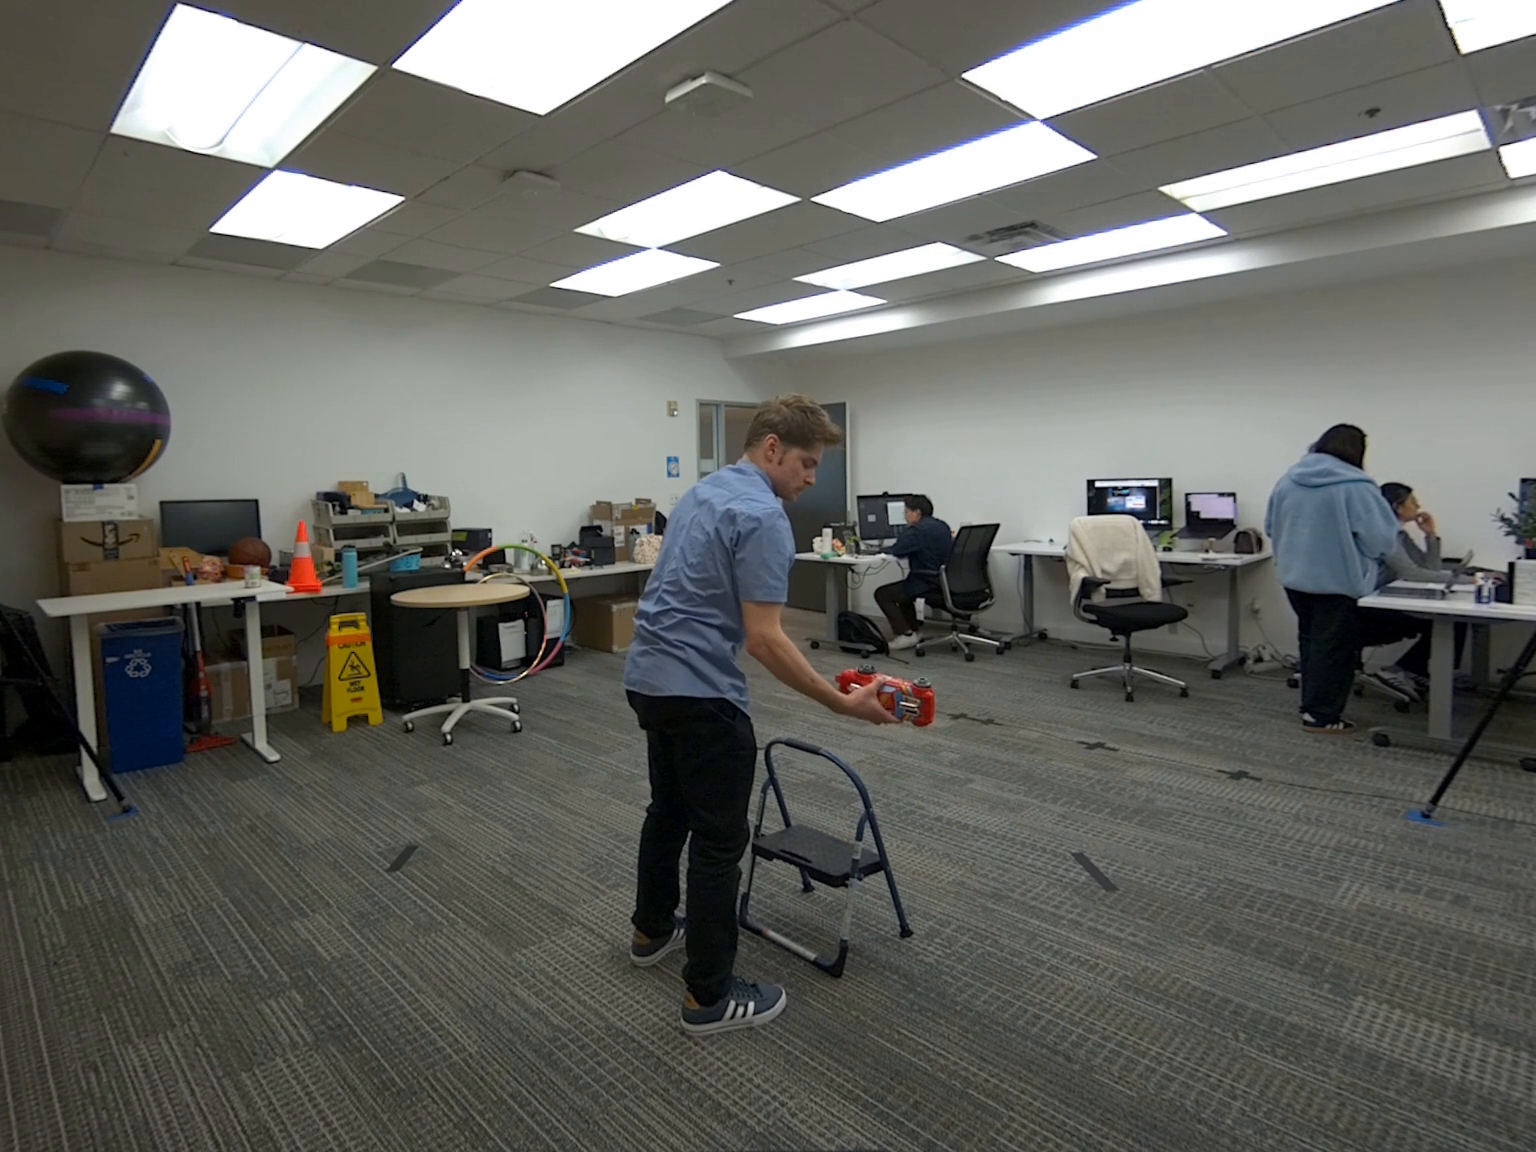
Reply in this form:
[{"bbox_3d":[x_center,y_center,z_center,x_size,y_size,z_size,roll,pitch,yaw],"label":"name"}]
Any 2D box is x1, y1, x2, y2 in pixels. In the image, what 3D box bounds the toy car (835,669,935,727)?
[{"bbox_3d":[0.295,0.300,2.145,0.260,0.128,0.083,6,24,22],"label":"toy car"}]
